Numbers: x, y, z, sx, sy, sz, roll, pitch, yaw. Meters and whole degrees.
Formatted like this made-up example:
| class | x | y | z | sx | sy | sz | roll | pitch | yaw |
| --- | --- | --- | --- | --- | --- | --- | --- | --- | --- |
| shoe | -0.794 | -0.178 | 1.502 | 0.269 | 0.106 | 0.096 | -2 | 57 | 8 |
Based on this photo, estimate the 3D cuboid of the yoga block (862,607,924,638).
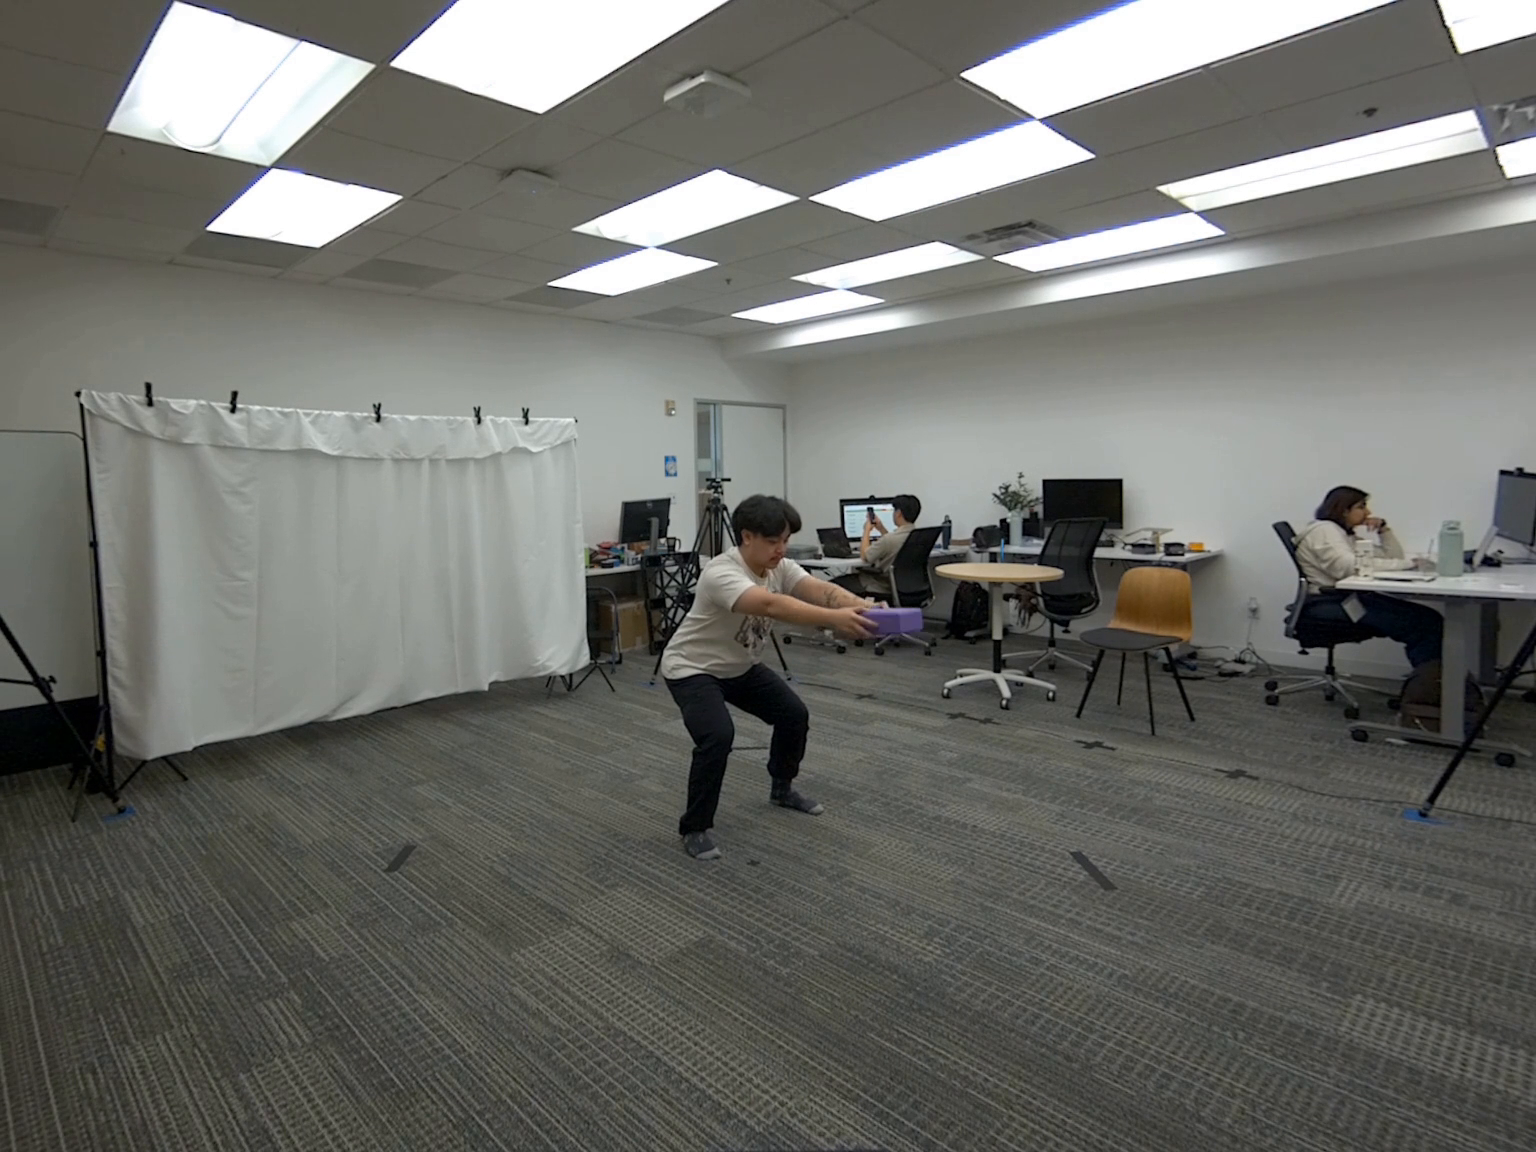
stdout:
| class | x | y | z | sx | sy | sz | roll | pitch | yaw |
| --- | --- | --- | --- | --- | --- | --- | --- | --- | --- |
| yoga block | 0.380 | 0.145 | 2.897 | 0.236 | 0.076 | 0.145 | 0 | 3 | 36 |
